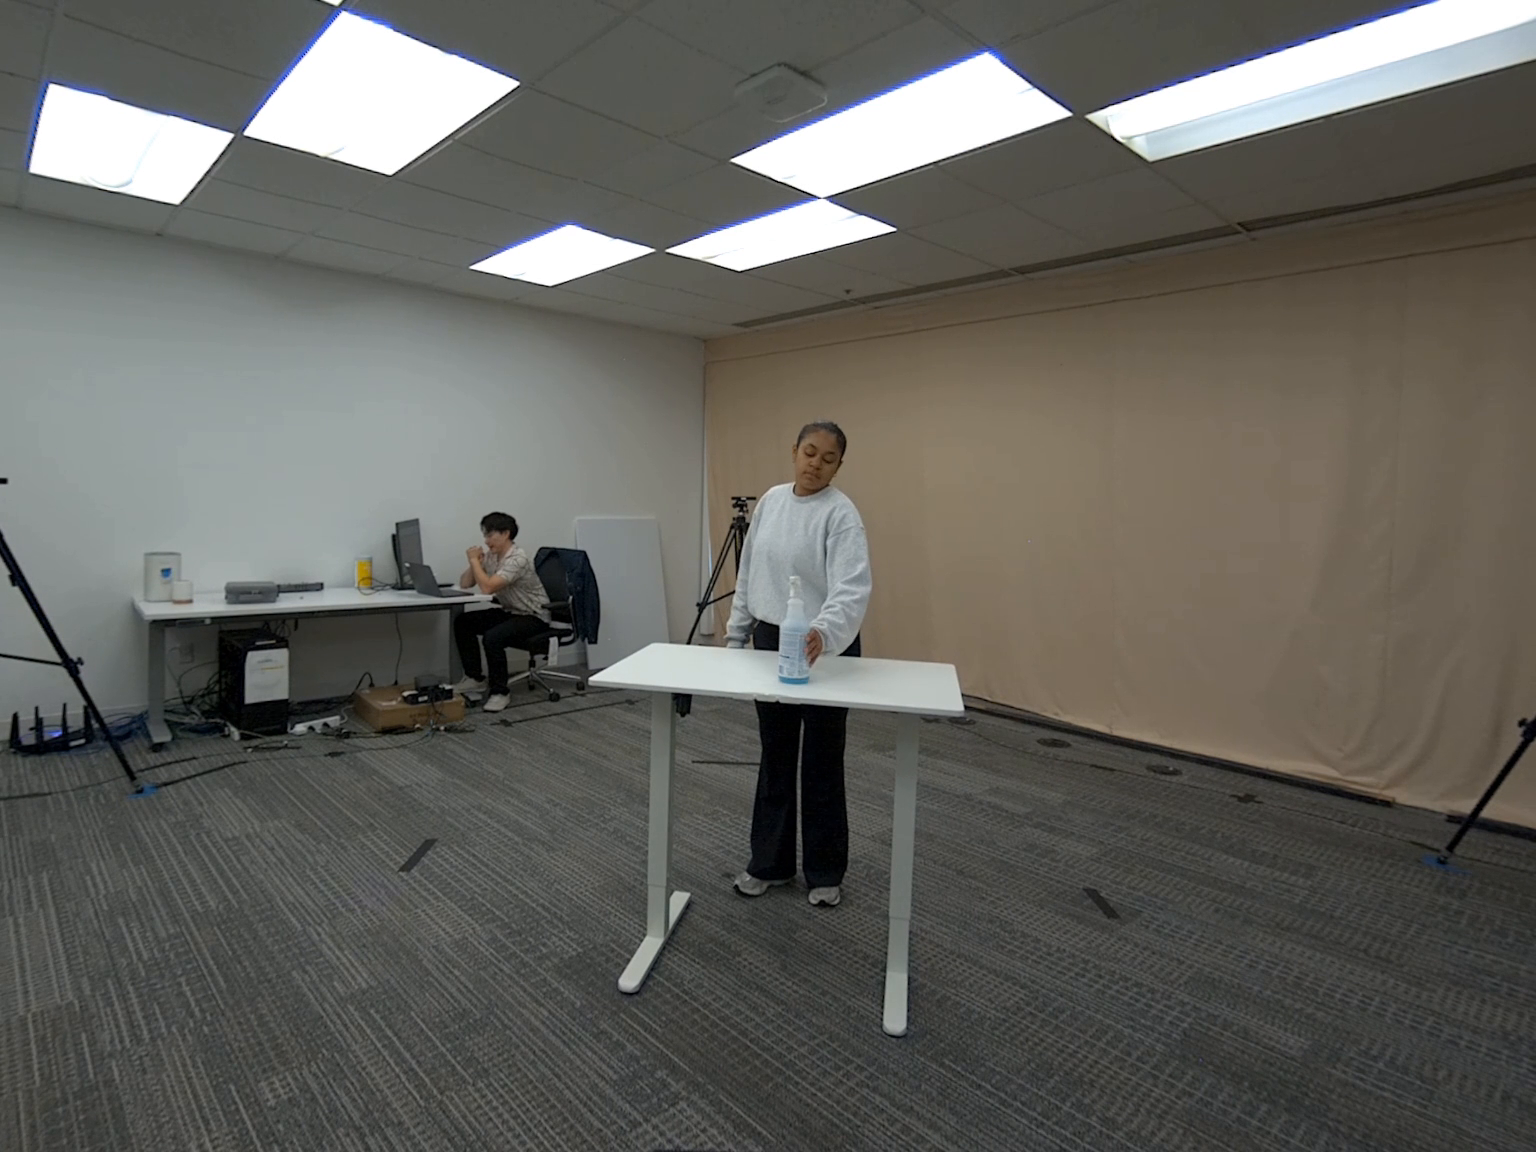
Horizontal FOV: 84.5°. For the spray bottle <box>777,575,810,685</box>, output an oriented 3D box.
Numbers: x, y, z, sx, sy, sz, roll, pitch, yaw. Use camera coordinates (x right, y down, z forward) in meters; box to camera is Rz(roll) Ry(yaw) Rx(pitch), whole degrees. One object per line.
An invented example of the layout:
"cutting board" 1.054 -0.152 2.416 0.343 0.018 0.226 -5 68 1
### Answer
"spray bottle" 0.070 0.148 2.364 0.089 0.297 0.088 4 4 41
